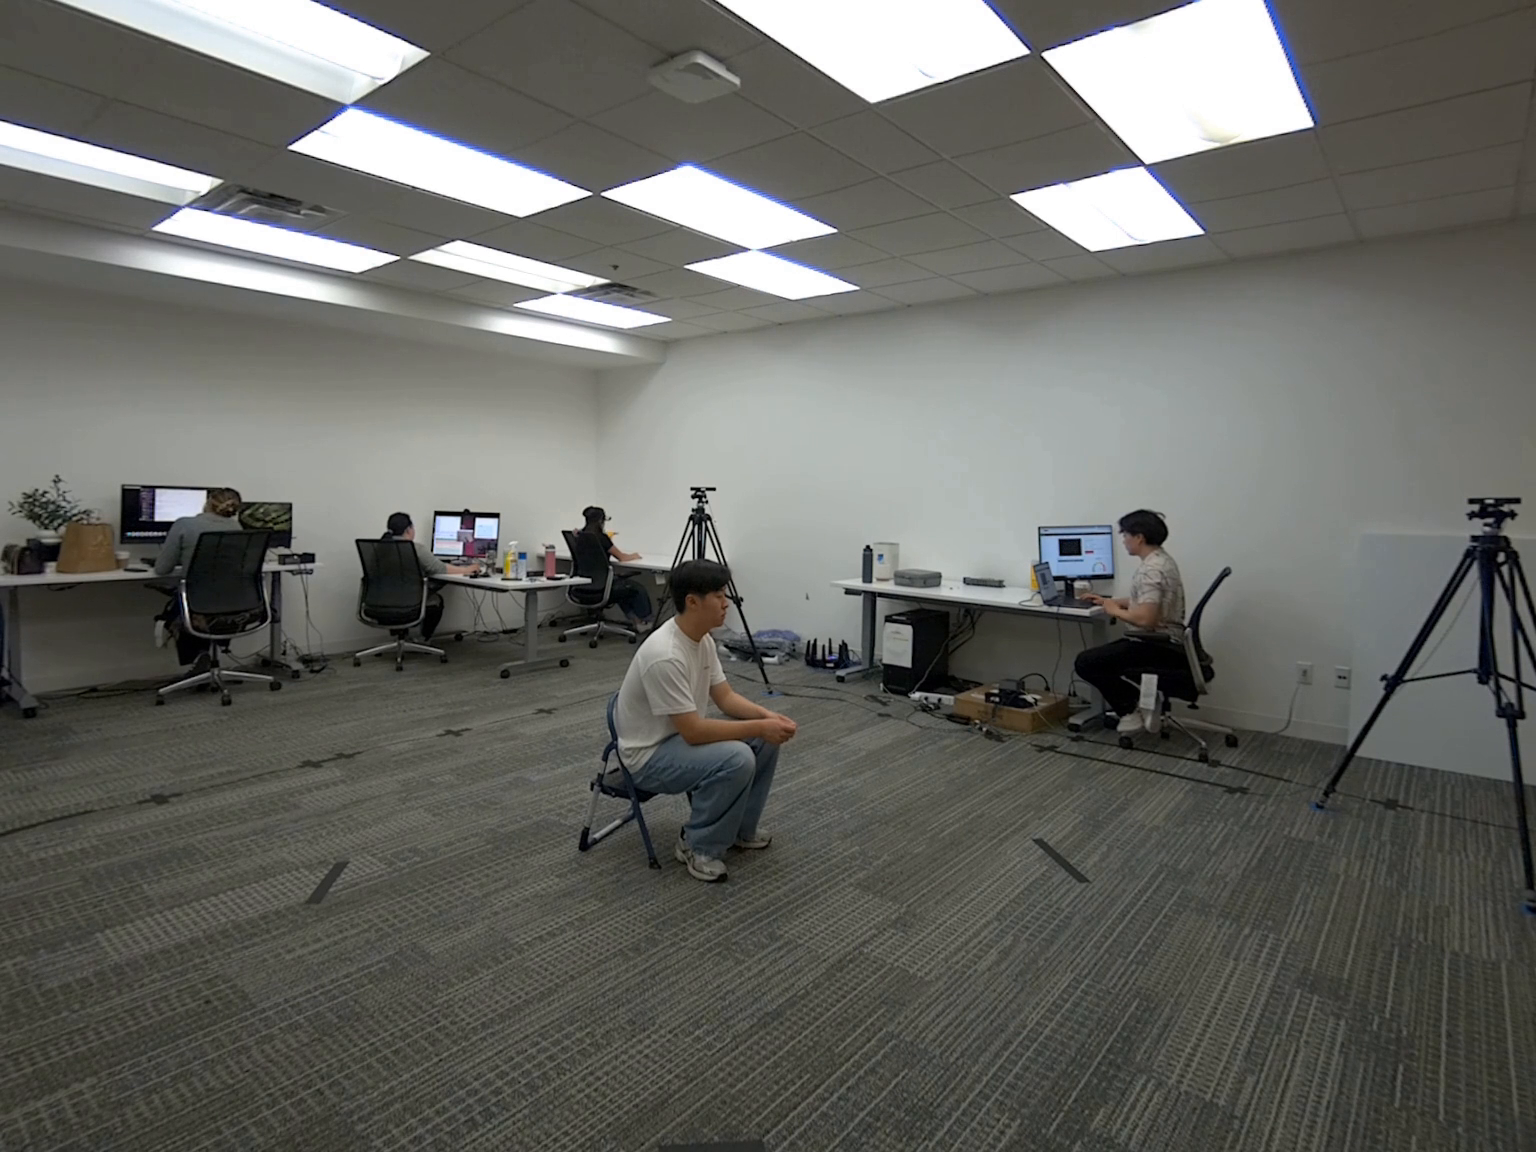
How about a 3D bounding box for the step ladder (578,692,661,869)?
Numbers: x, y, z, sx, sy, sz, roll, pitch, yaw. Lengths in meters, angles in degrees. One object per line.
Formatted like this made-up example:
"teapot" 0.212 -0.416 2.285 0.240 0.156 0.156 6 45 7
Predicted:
"step ladder" -0.502 0.739 3.348 0.357 0.605 0.421 2 3 22
